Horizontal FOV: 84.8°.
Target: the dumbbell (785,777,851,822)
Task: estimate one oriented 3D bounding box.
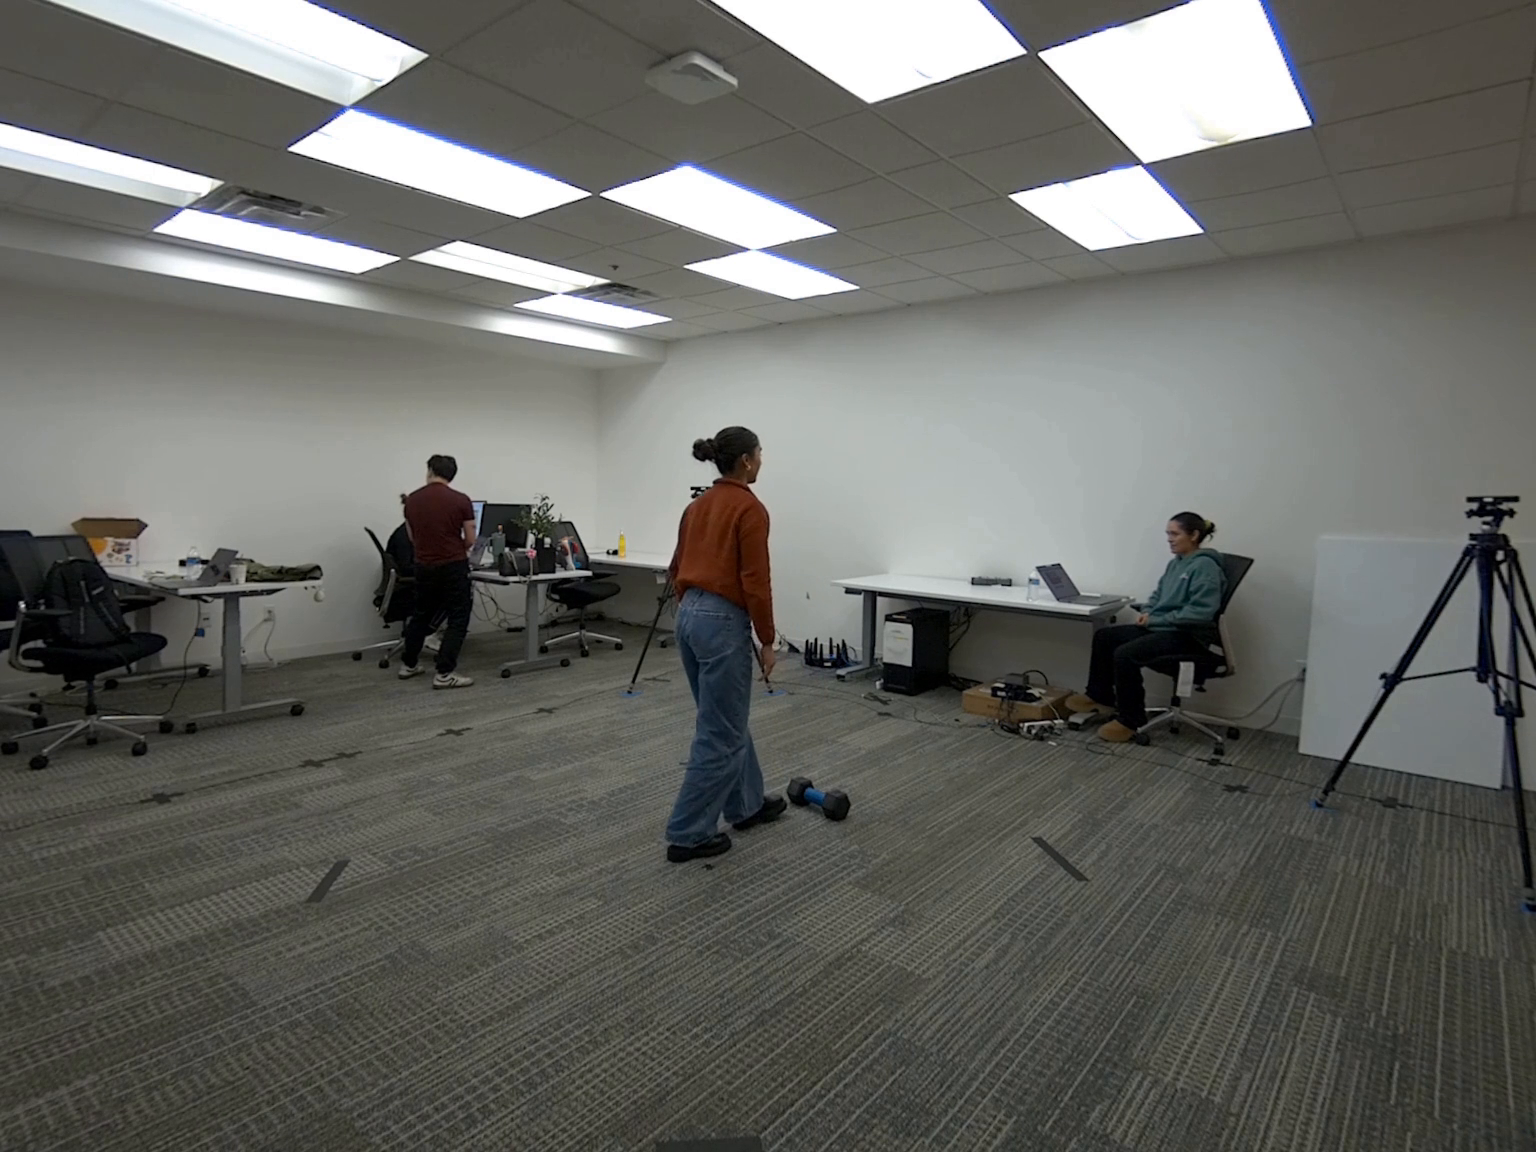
[{"bbox_3d":[0.212,0.961,3.700,0.108,0.120,0.303,-37,27,-34],"label":"dumbbell"}]
